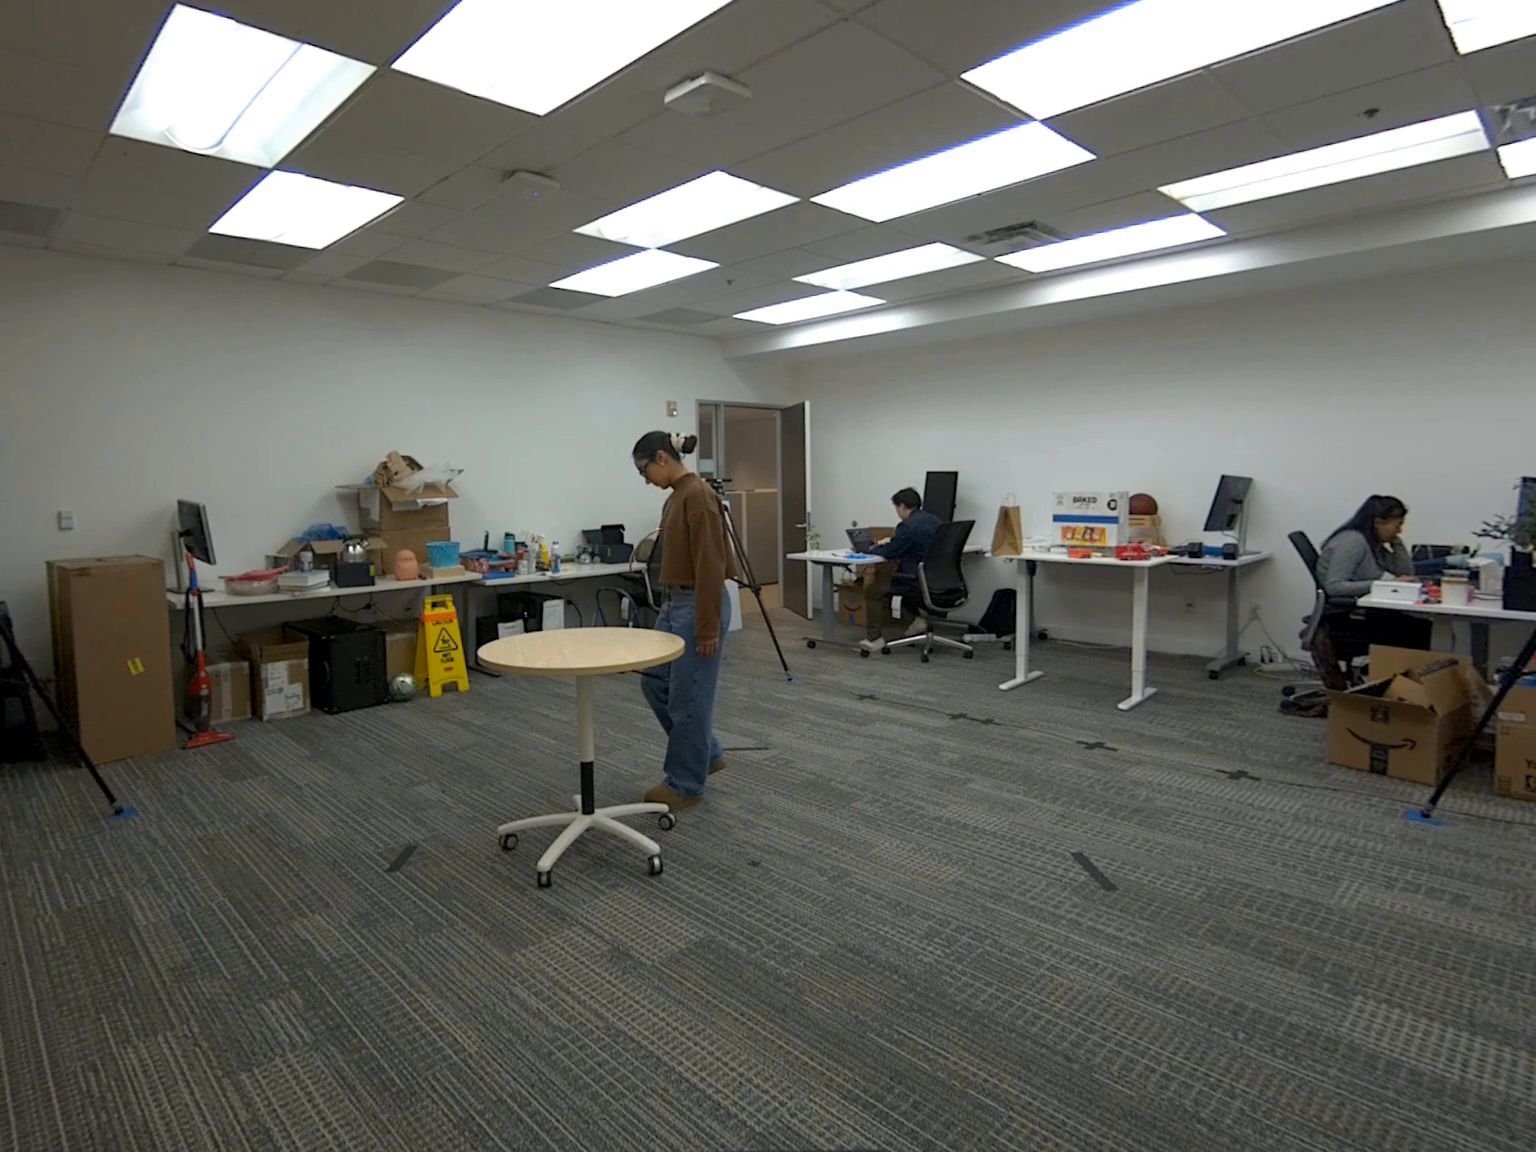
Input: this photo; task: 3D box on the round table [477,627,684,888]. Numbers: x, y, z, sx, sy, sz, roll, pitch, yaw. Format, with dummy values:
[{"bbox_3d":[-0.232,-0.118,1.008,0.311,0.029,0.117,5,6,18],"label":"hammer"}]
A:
[{"bbox_3d":[-0.679,0.651,3.233,0.763,0.791,0.768,-1,5,-2],"label":"round table"}]
